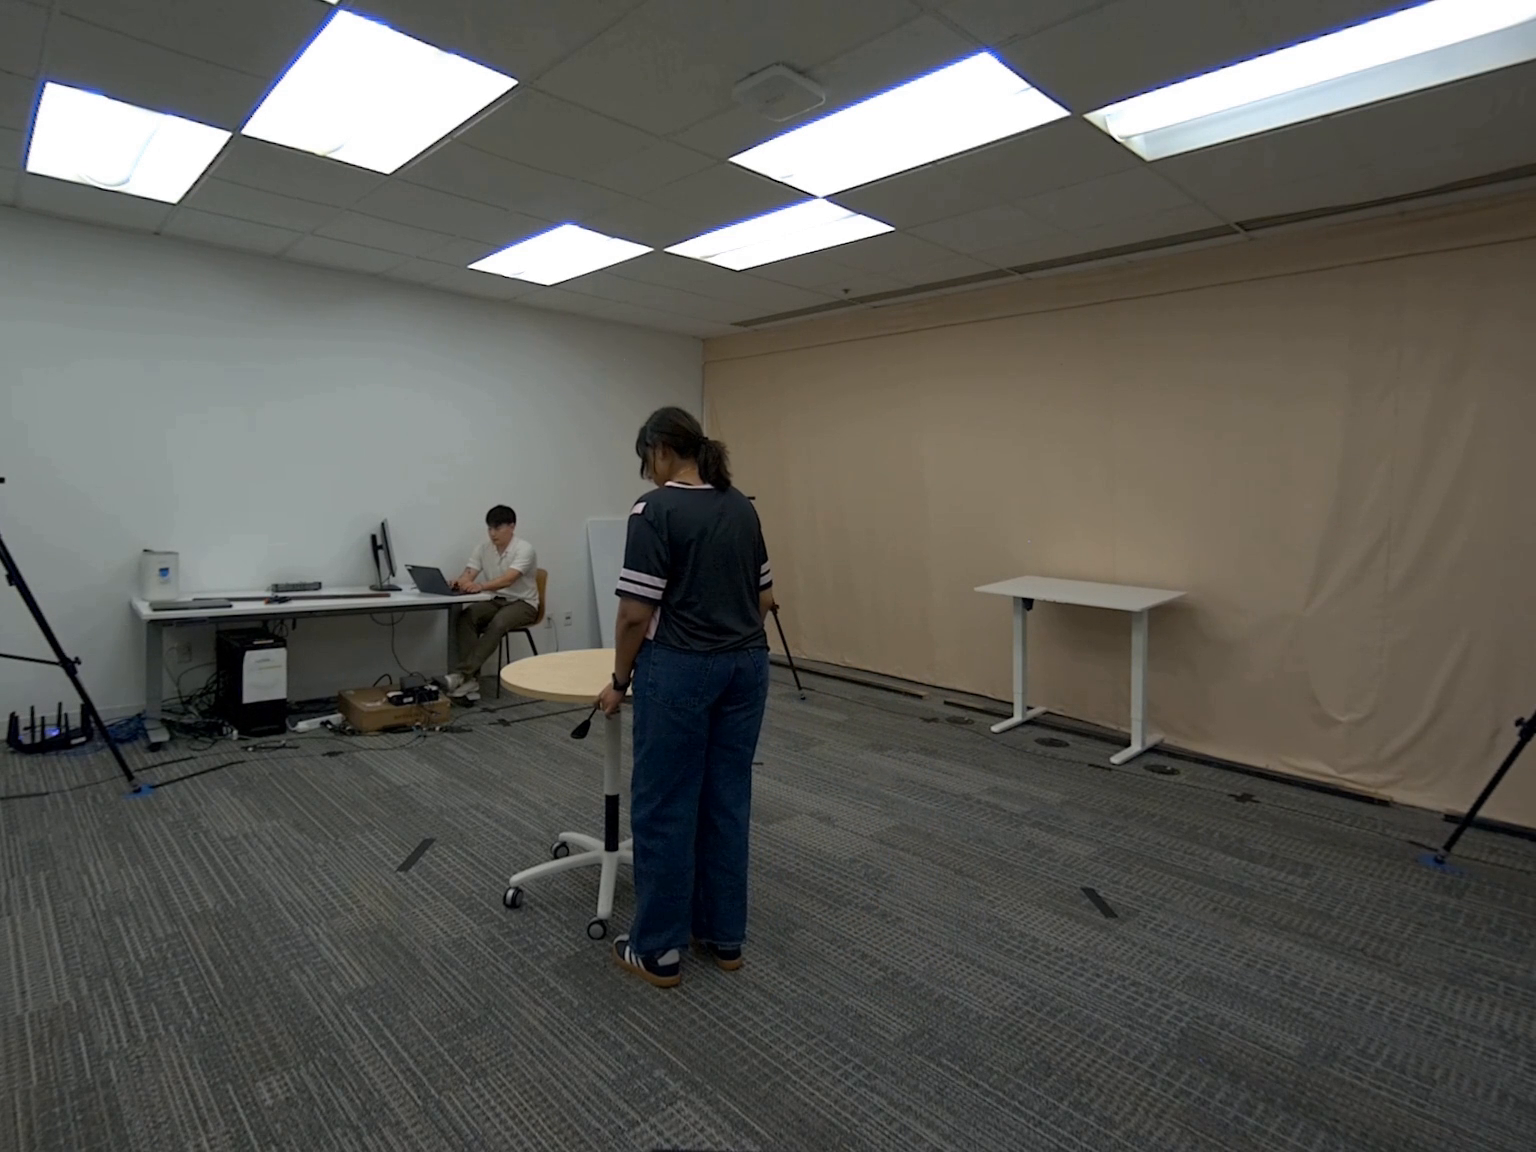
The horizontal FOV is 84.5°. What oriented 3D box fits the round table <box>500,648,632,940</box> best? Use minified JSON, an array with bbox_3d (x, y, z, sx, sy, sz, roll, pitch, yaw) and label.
[{"bbox_3d":[-0.557,0.719,2.964,0.763,0.792,0.766,1,4,-1],"label":"round table"}]
